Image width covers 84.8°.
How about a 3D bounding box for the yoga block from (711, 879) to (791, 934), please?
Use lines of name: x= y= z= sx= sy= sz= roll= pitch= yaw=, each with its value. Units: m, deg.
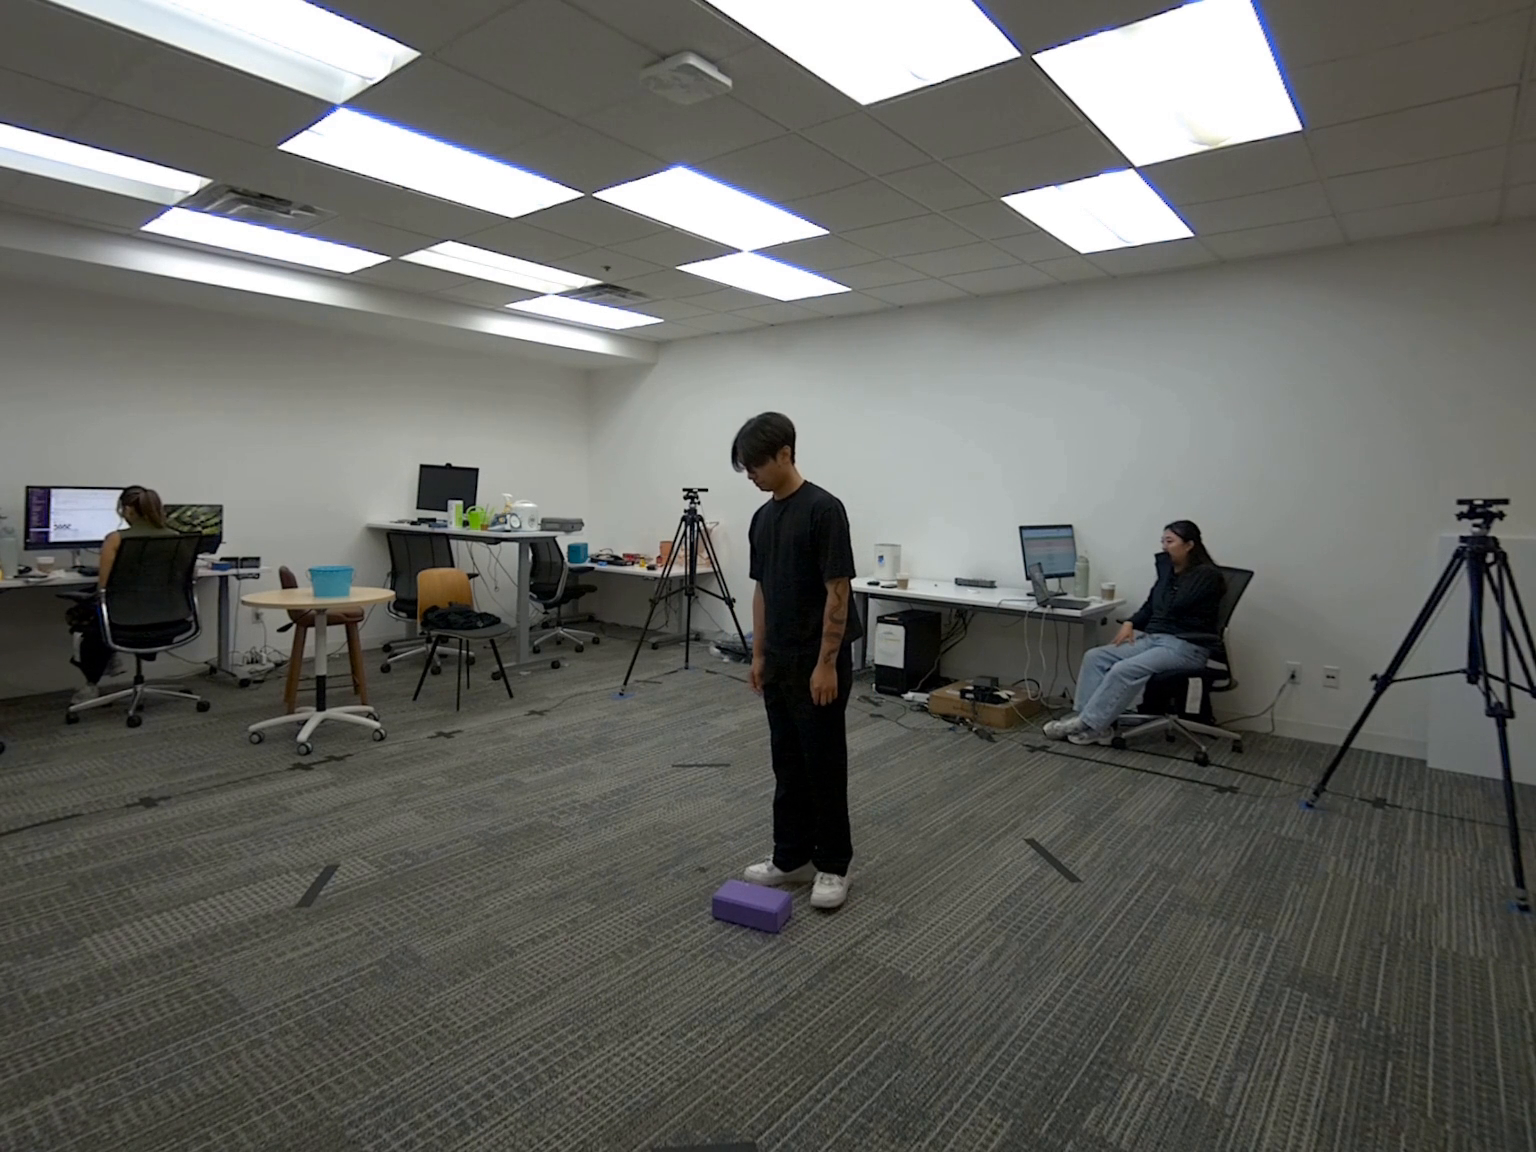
yoga block: x=-0.059 y=1.063 z=2.768 sx=0.235 sy=0.076 sz=0.146 roll=4 pitch=5 yaw=24
